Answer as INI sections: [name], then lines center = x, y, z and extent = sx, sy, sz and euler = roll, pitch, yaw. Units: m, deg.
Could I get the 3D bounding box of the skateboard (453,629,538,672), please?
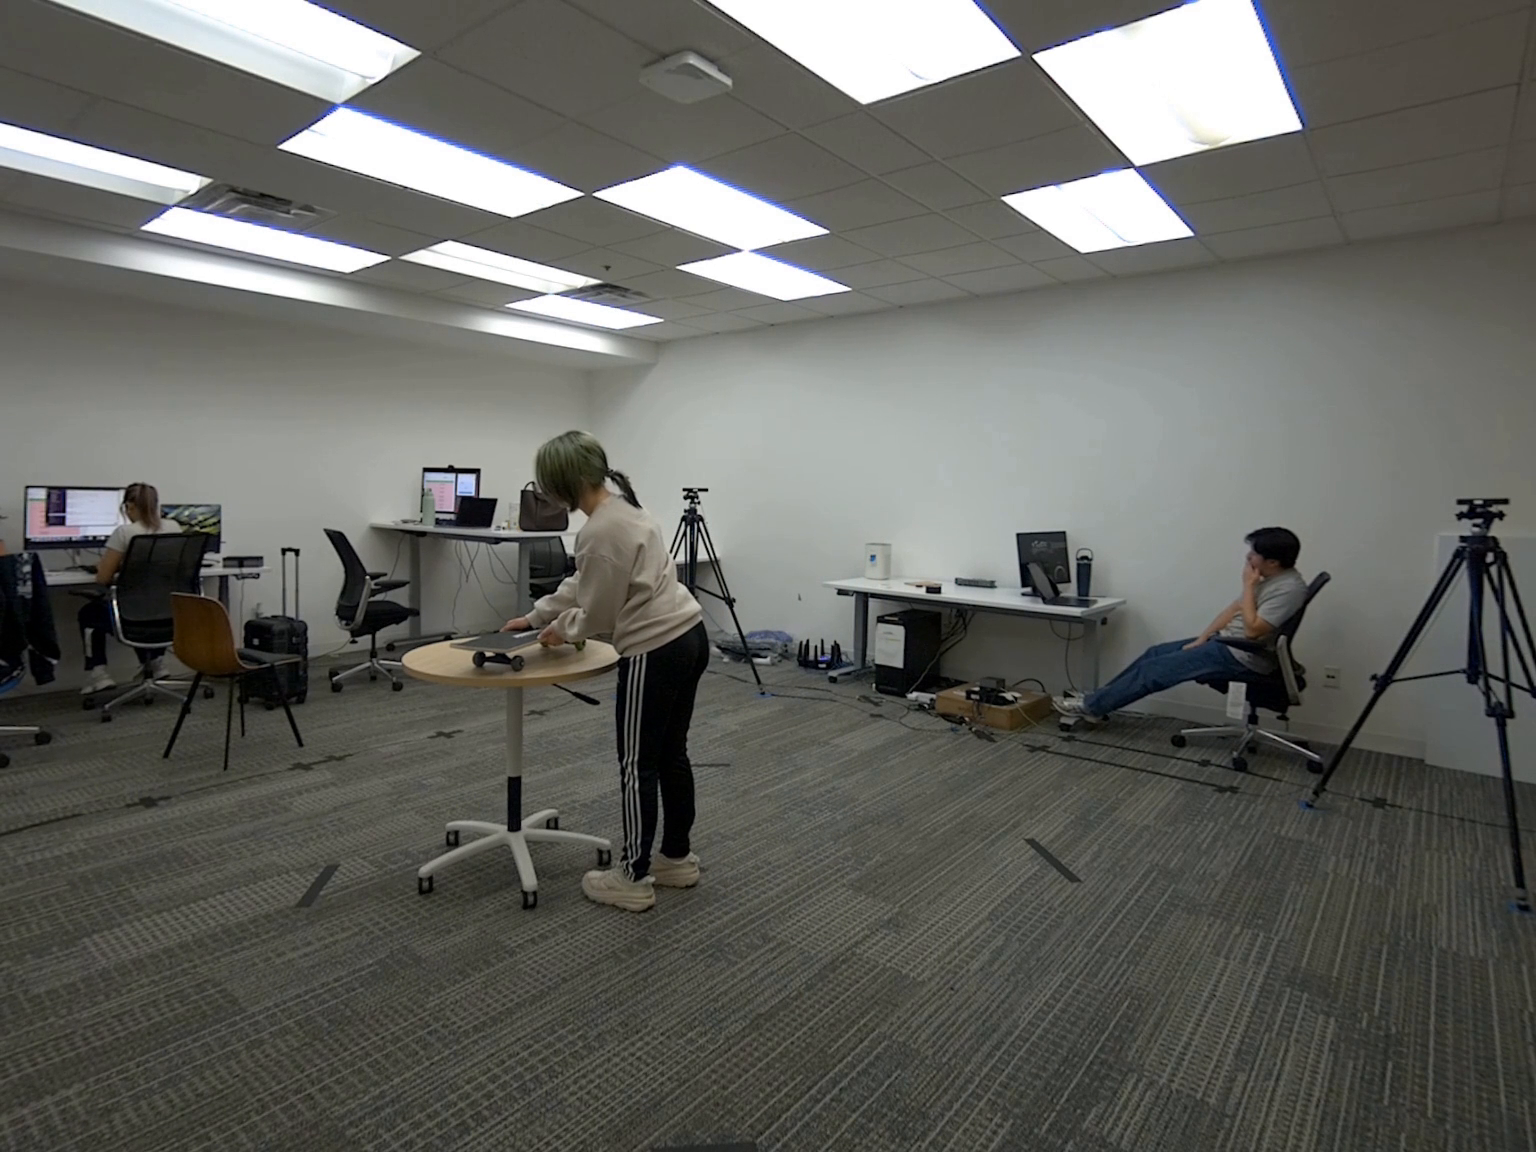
[skateboard]
center = -0.850, 0.231, 3.012
extent = 0.198, 0.110, 0.771
euler = 4, 6, 19
